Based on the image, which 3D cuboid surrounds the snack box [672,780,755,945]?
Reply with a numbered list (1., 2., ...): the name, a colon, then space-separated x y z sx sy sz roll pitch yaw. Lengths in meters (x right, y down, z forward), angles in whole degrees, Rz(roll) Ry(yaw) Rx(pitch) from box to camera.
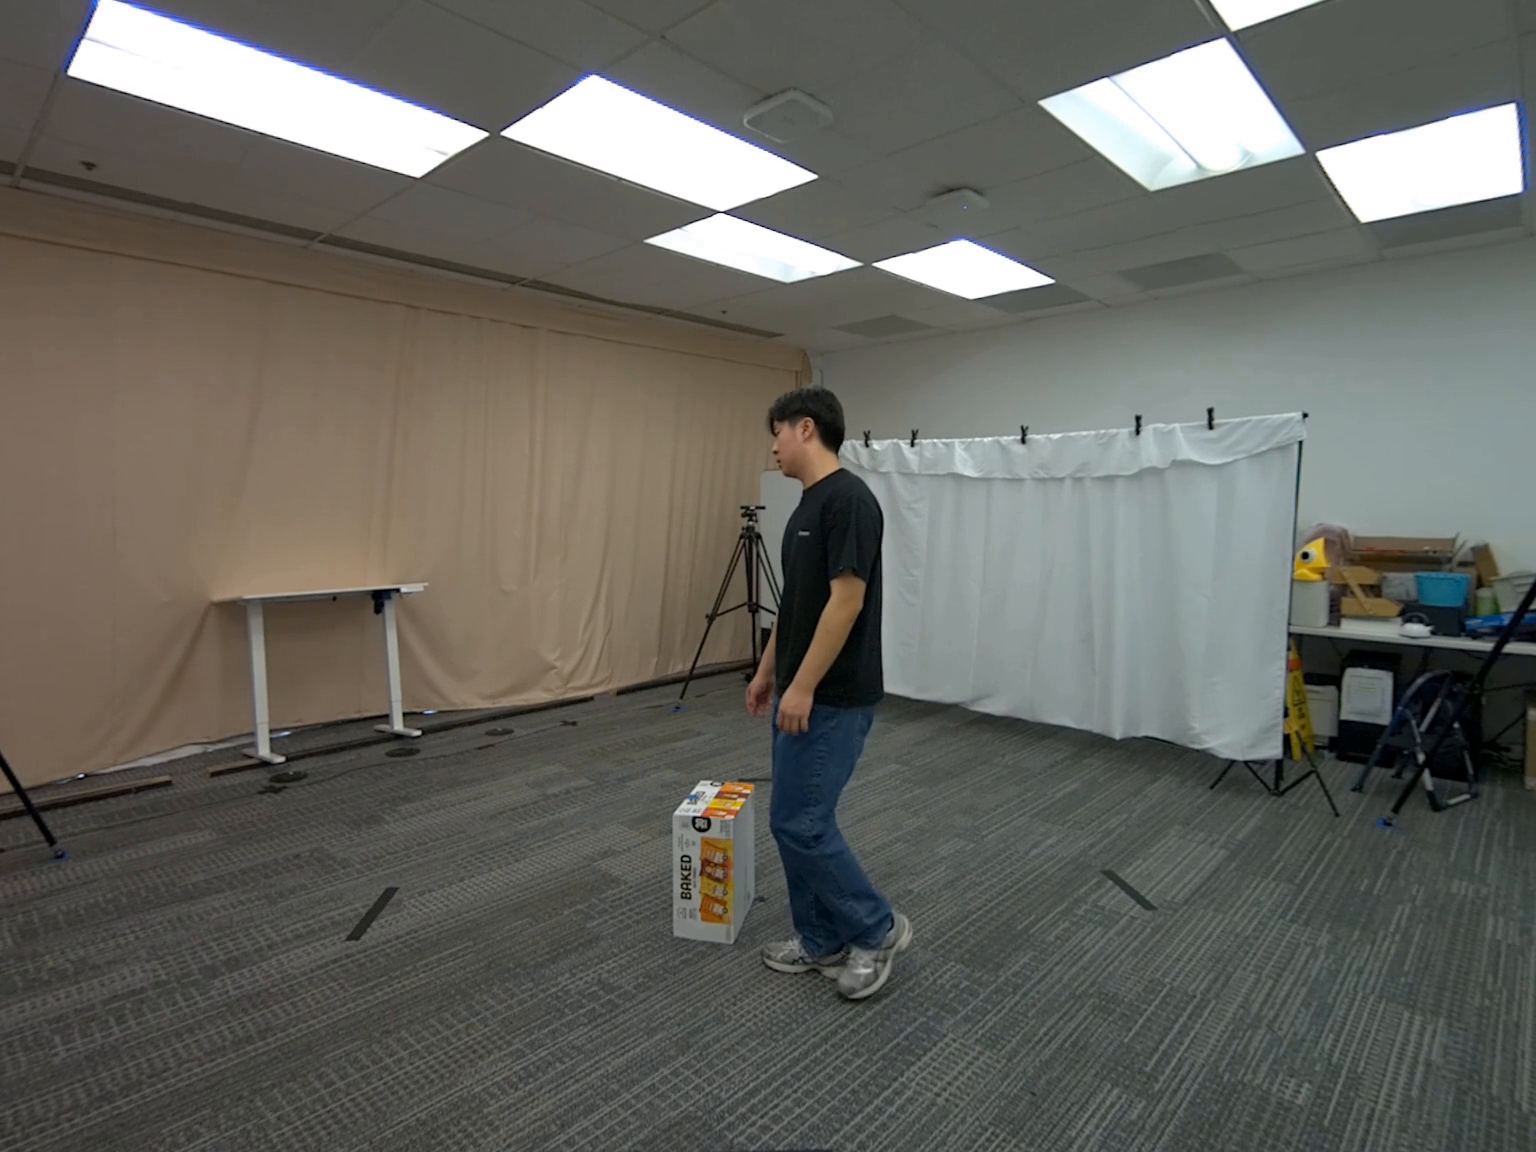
1. snack box: -0.171 0.951 2.849 0.209 0.404 0.336 0 3 12
